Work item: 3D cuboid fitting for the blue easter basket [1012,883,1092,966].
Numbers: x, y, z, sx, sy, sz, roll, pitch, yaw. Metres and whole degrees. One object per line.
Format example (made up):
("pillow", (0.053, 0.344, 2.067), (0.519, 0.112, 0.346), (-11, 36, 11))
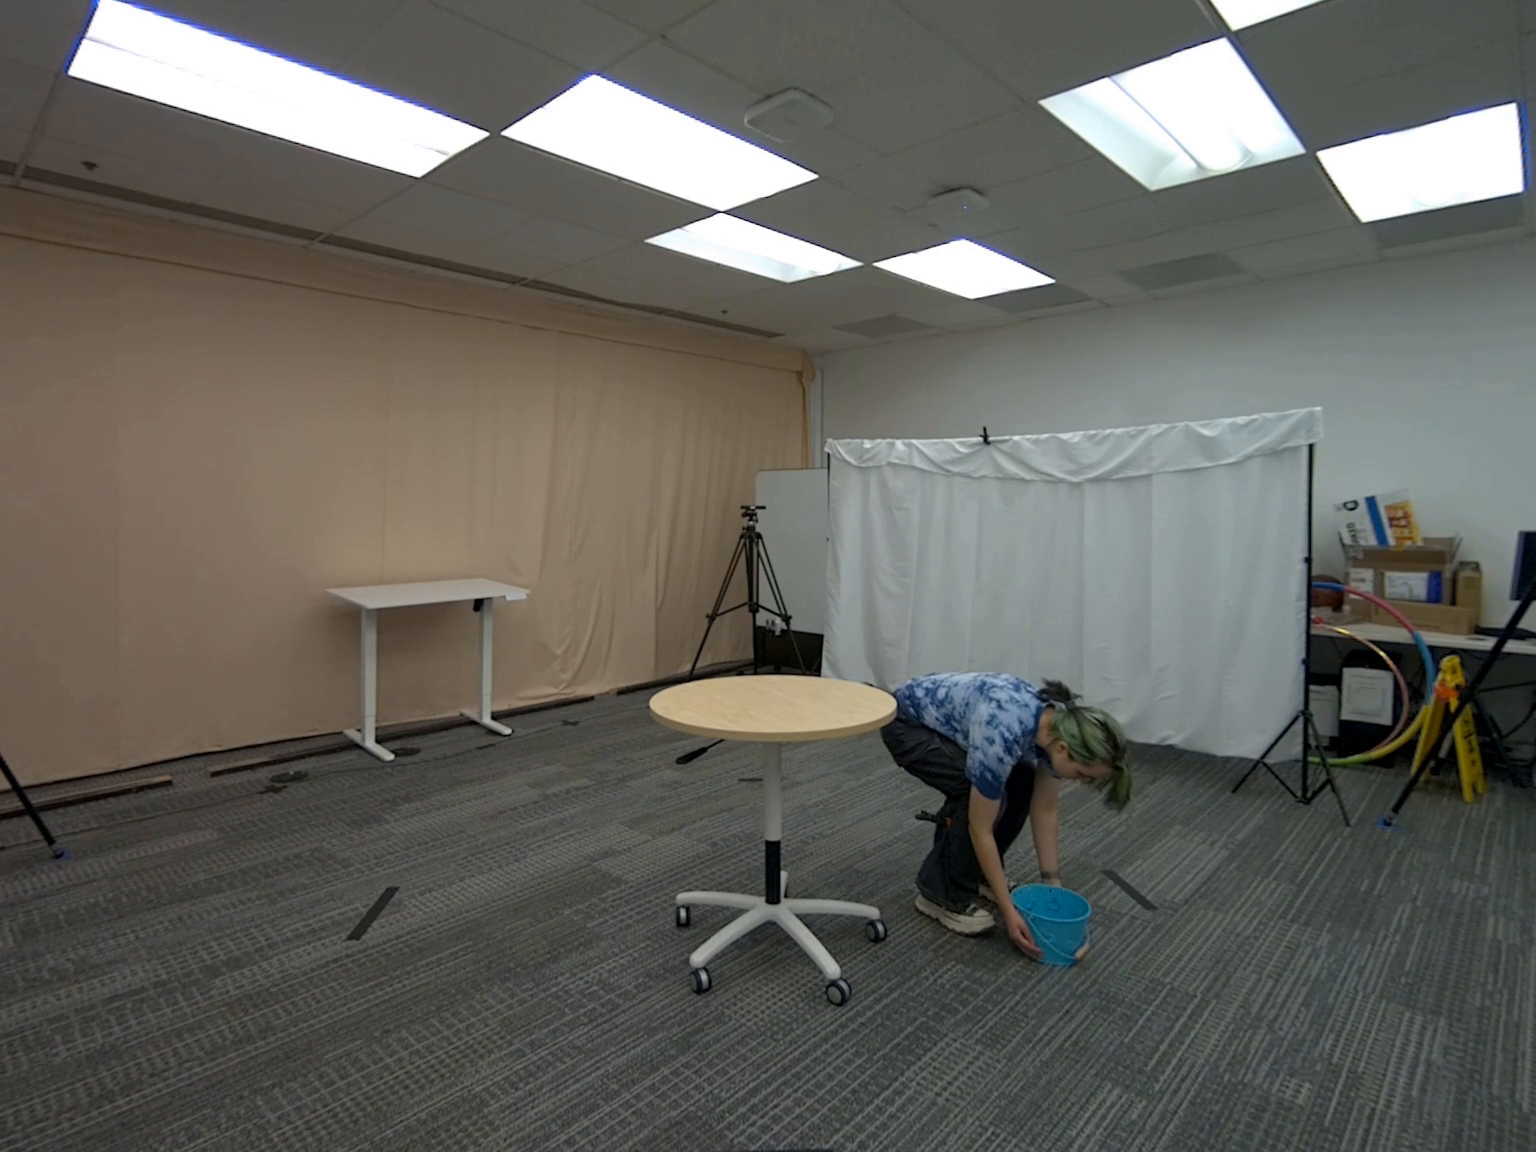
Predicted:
("blue easter basket", (0.885, 1.086, 2.626), (0.243, 0.155, 0.245), (1, 6, -2))
